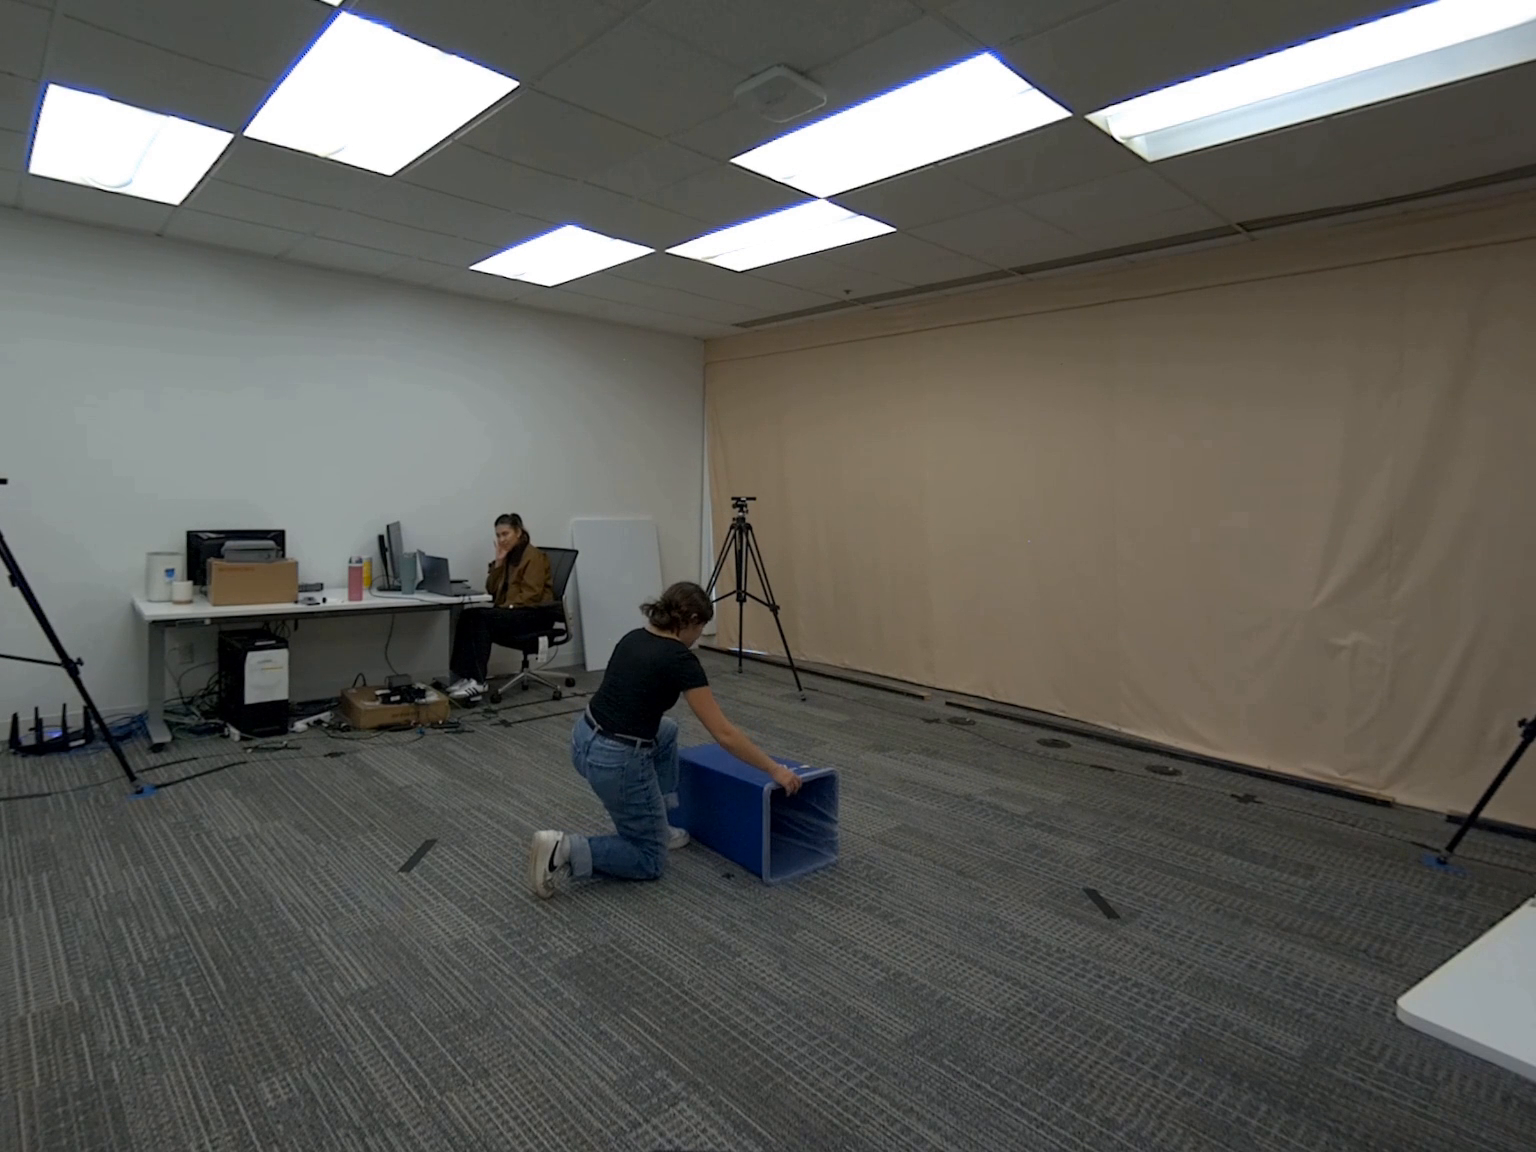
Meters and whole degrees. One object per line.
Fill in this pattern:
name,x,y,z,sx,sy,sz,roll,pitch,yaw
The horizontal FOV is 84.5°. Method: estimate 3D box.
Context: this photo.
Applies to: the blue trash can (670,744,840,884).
blue trash can,-0.102,0.917,3.397,0.366,0.378,0.730,-2,3,-39
